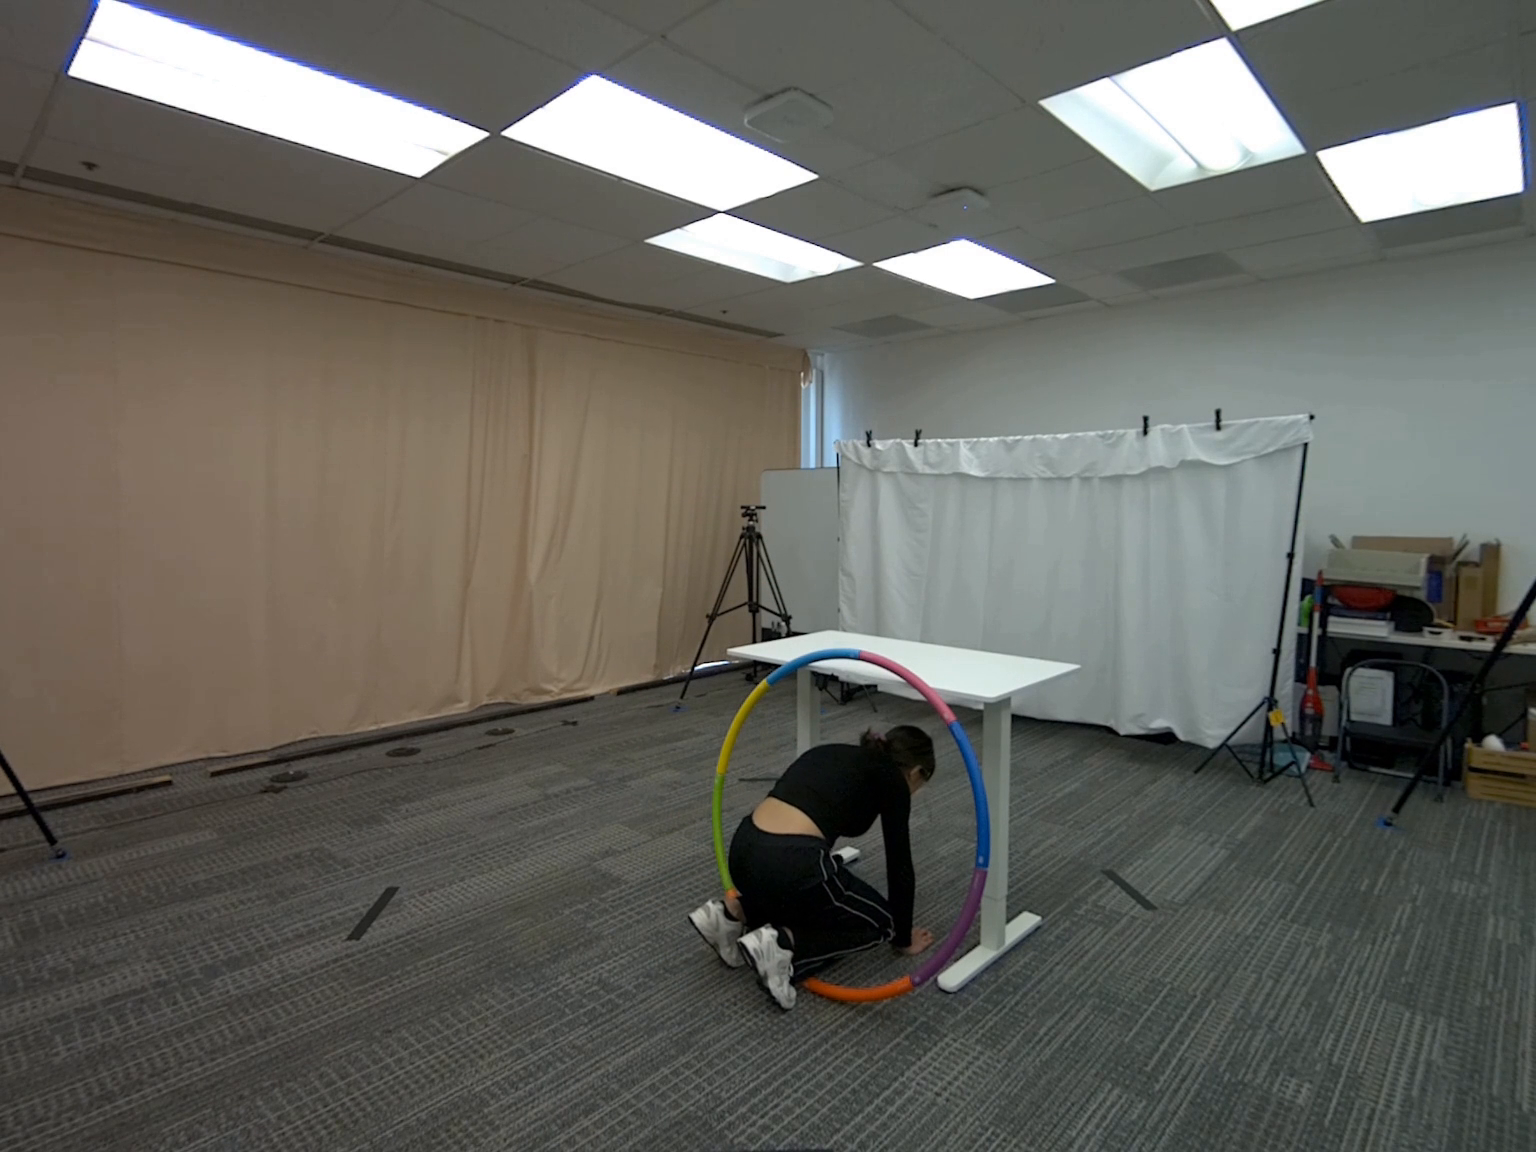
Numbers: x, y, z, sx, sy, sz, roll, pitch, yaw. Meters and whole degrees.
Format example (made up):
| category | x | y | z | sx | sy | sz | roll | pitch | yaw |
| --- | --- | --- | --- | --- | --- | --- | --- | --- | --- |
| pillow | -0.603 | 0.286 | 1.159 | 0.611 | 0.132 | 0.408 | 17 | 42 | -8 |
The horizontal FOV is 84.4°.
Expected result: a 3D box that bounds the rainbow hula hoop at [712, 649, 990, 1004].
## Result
| category | x | y | z | sx | sy | sz | roll | pitch | yaw |
| --- | --- | --- | --- | --- | --- | --- | --- | --- | --- |
| rainbow hula hoop | 0.199 | 0.714 | 2.493 | 1.011 | 0.982 | 0.034 | 4 | -10 | 43 |
